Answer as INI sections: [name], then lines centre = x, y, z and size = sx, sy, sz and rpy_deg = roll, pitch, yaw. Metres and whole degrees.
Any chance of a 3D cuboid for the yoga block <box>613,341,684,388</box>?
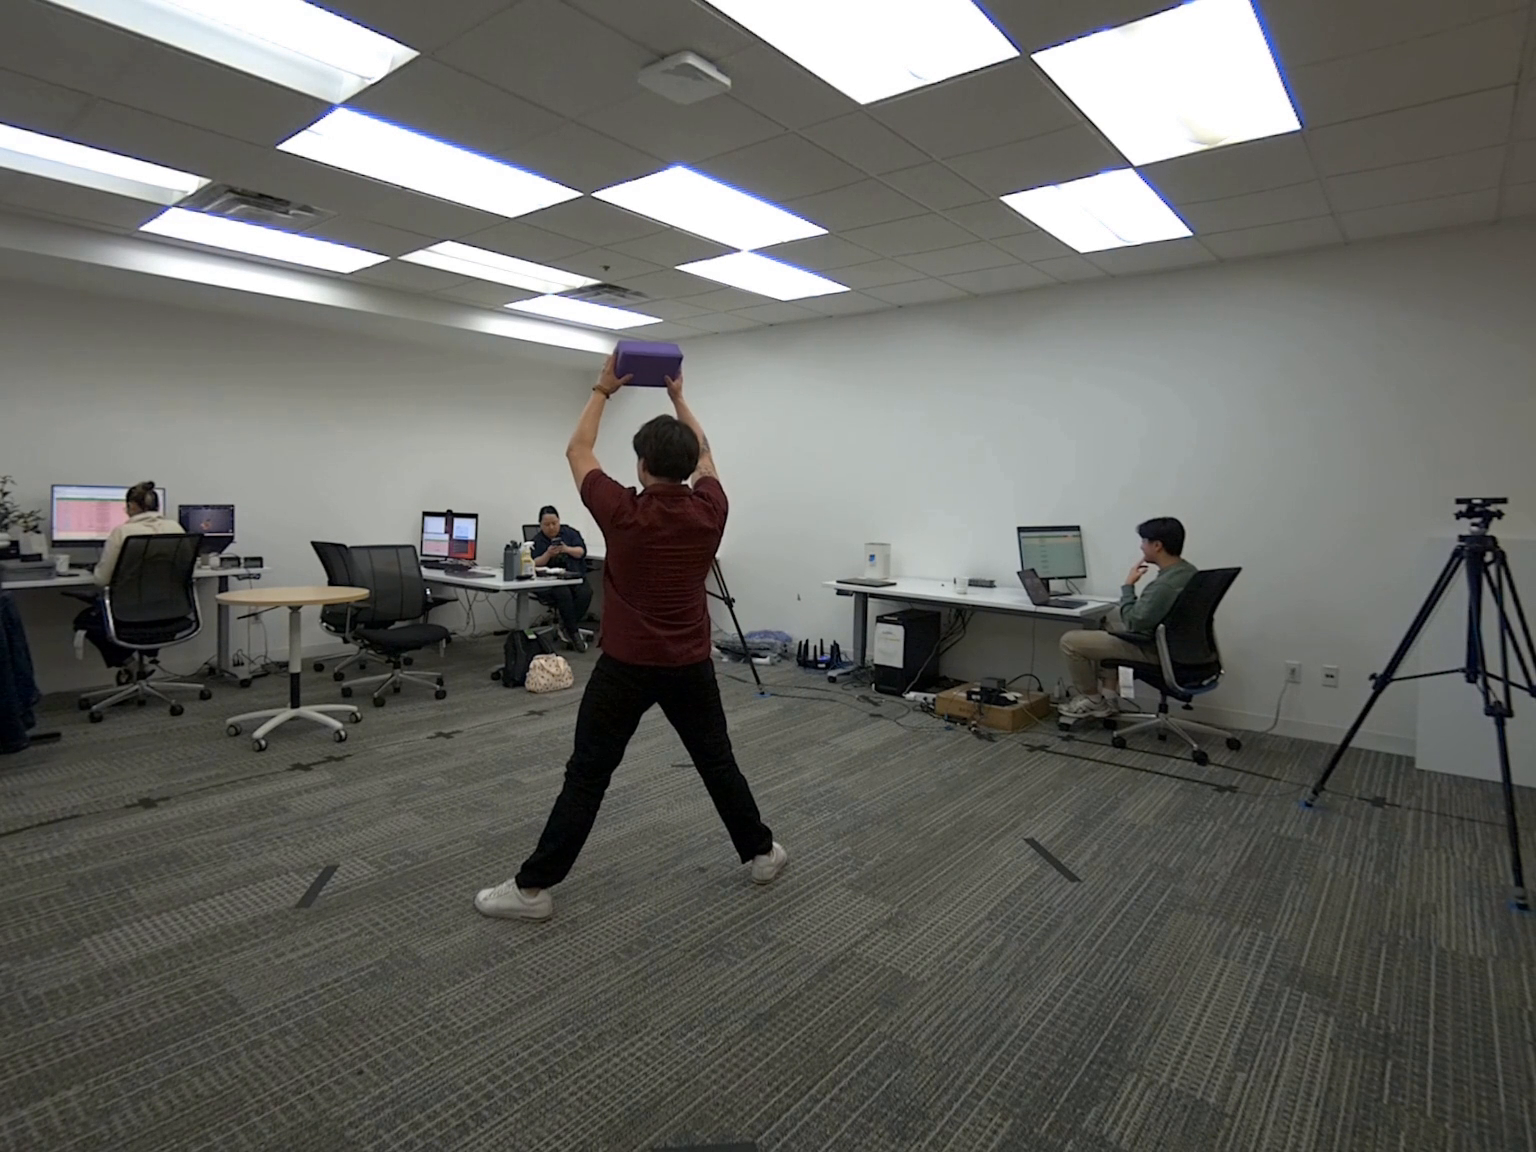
[yoga block]
centre = -0.441, -0.742, 2.971
size = 0.224, 0.079, 0.147
rpy_deg = -4, -38, -28
